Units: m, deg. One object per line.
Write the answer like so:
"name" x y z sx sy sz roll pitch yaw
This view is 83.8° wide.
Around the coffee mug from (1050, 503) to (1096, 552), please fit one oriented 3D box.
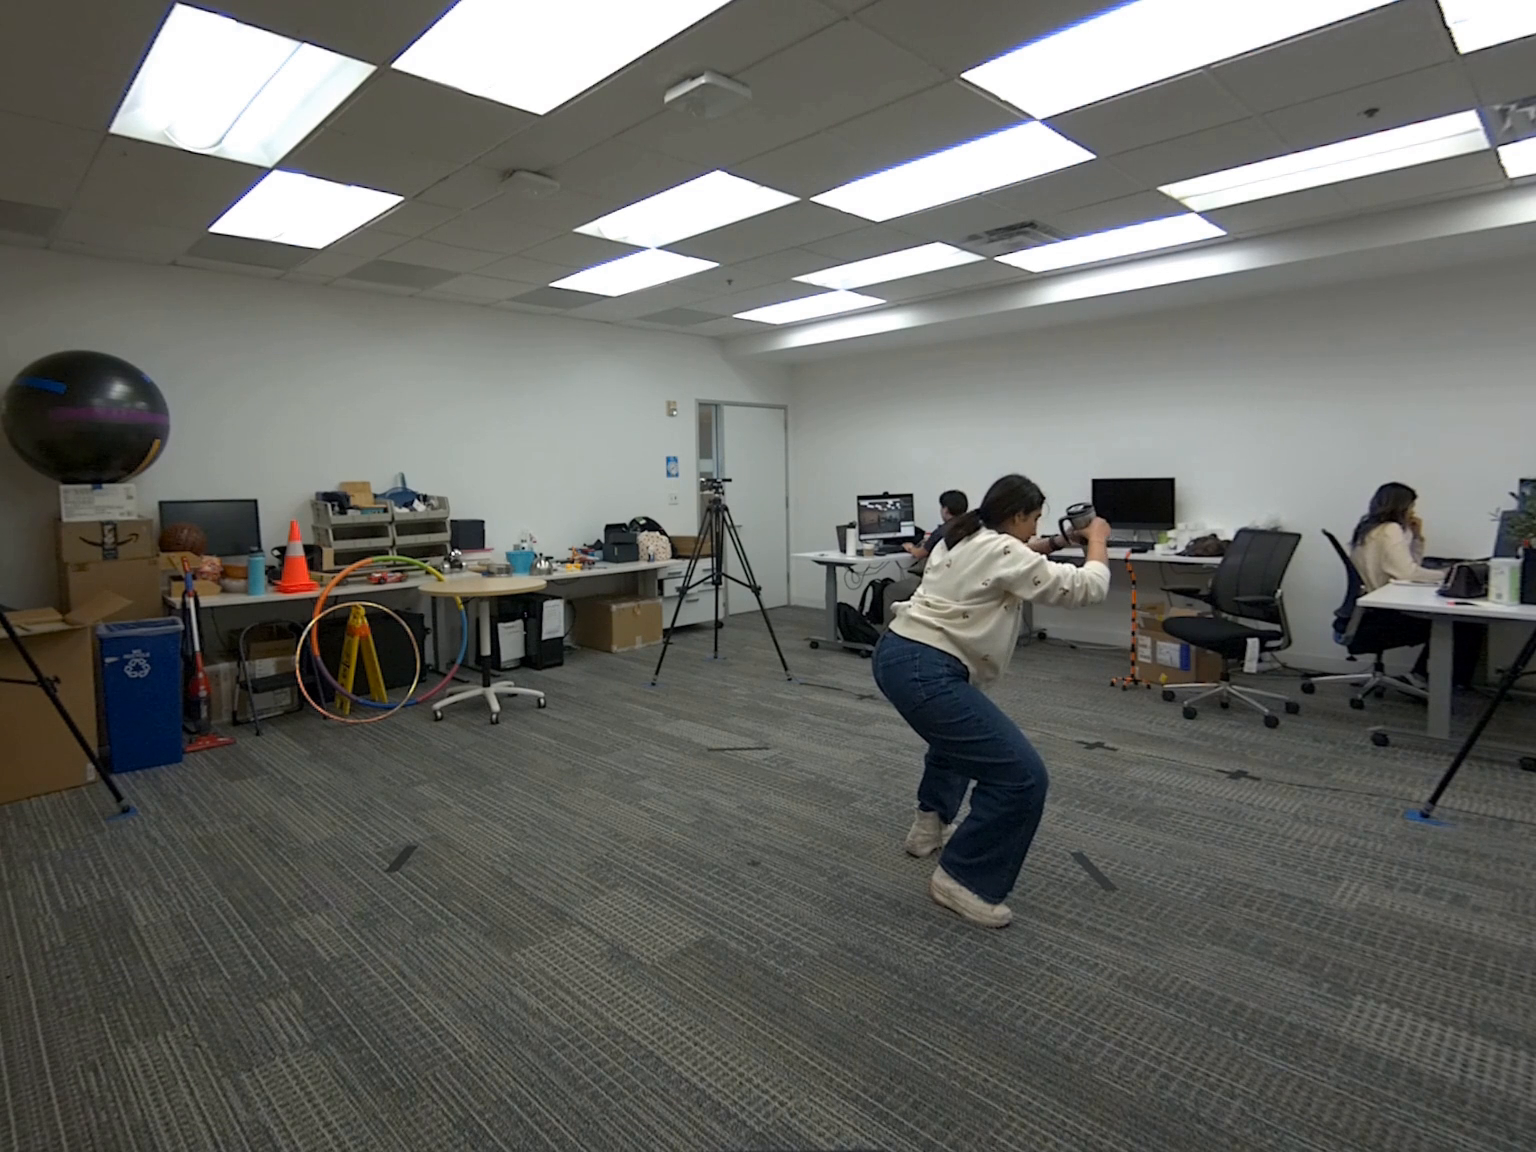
"coffee mug" 1.112 -0.144 2.950 0.122 0.201 0.089 -26 10 -2
